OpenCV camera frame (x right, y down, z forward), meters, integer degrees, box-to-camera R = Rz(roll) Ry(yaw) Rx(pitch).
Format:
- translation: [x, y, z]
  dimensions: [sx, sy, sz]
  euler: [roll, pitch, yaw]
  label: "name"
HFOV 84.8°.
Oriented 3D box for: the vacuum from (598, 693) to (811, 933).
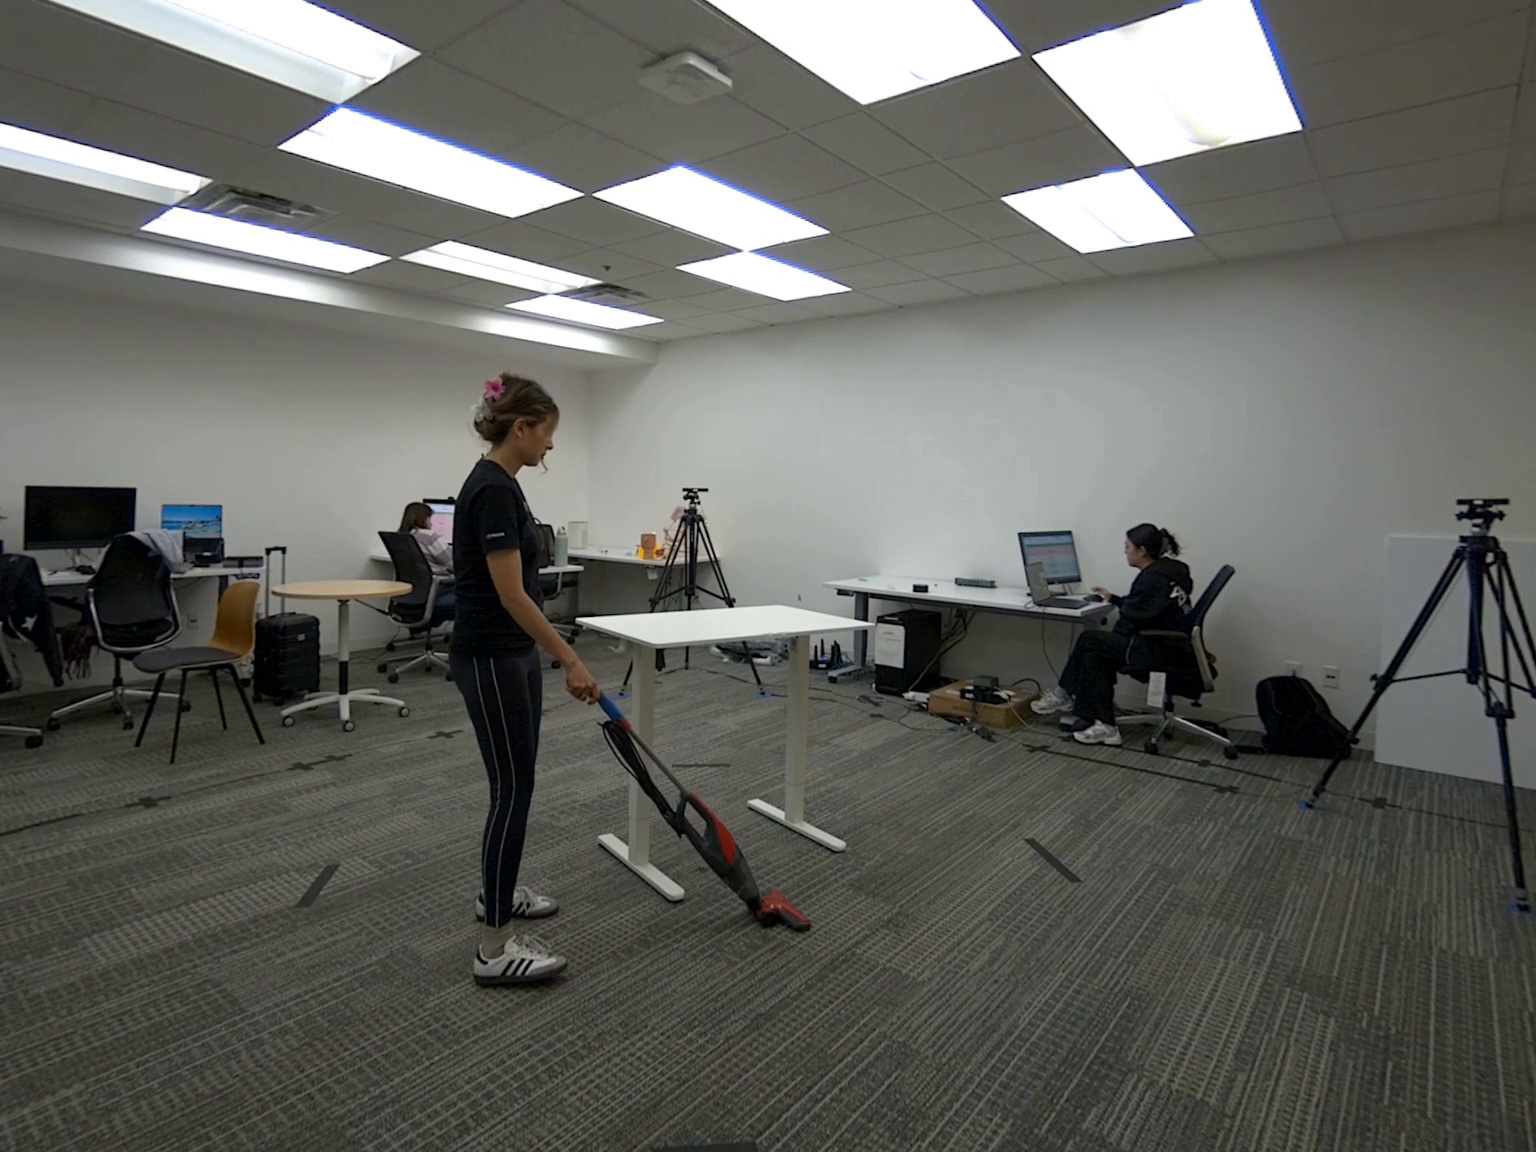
- translation: [-0.280, 0.716, 2.629]
  dimensions: [0.144, 1.024, 0.259]
  euler: [-42, 18, -11]
  label: "vacuum"
